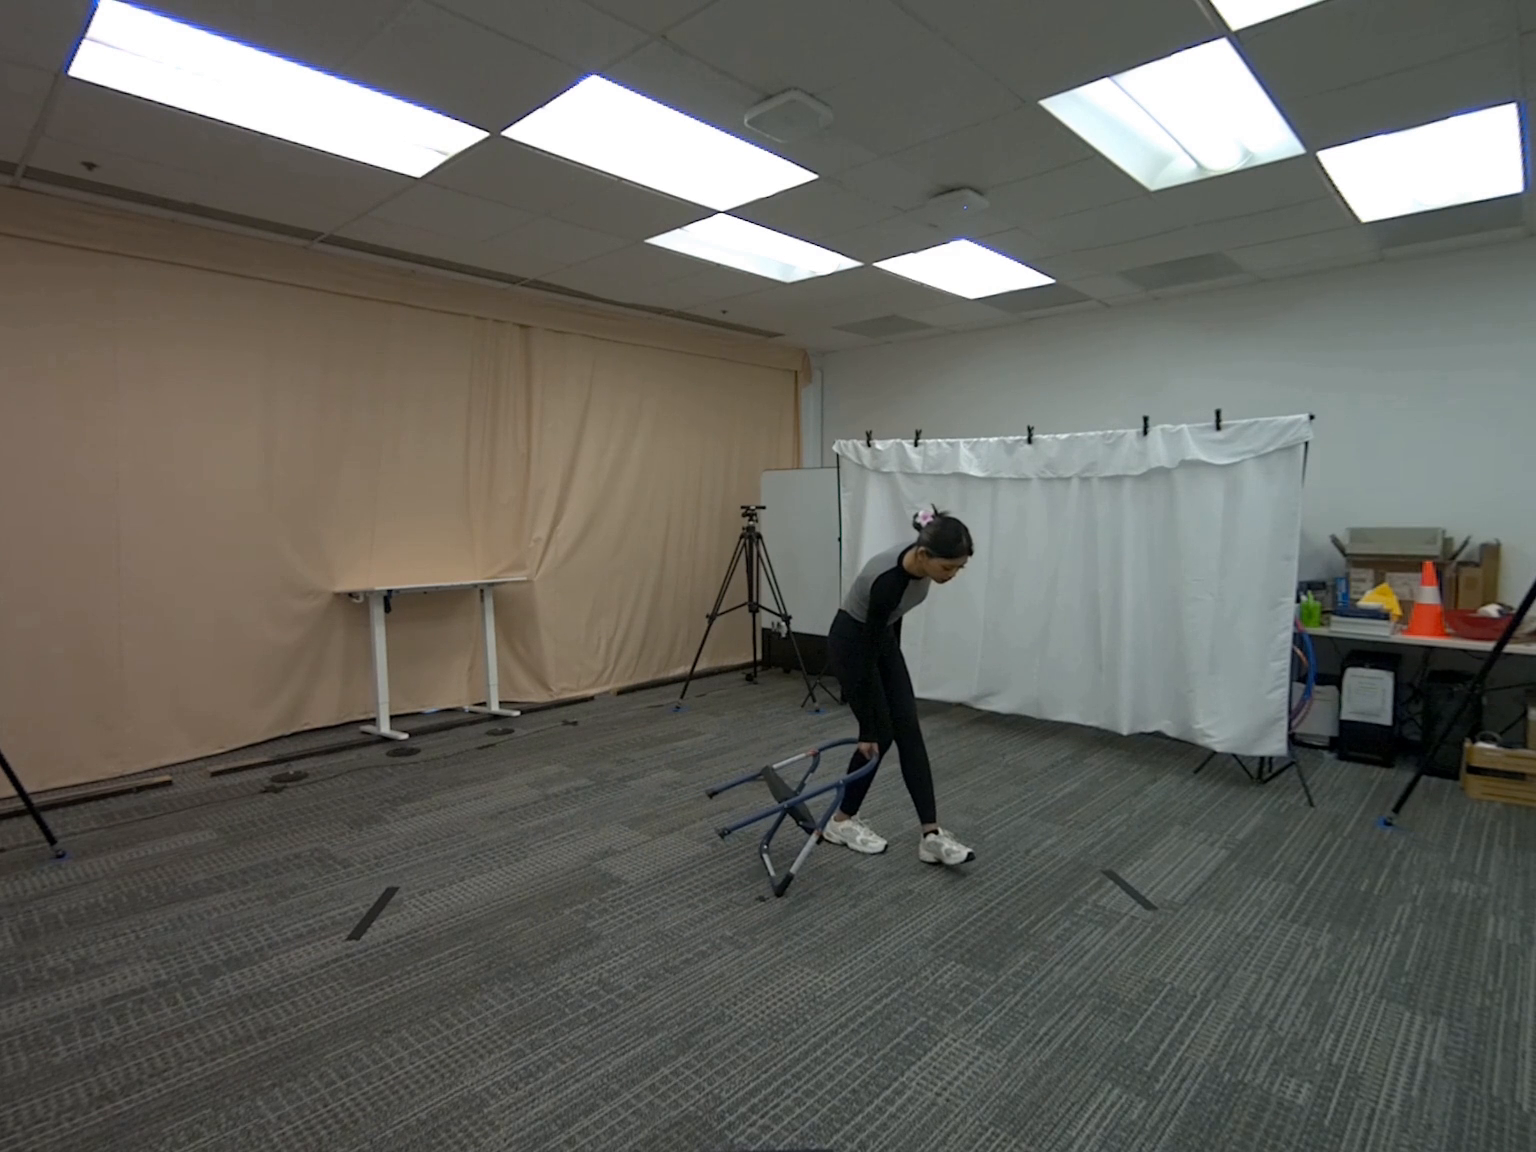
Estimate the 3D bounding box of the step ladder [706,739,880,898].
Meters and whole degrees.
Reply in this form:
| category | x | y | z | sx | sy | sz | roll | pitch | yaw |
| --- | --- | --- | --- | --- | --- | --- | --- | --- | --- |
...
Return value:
| category | x | y | z | sx | sy | sz | roll | pitch | yaw |
| --- | --- | --- | --- | --- | --- | --- | --- | --- | --- |
| step ladder | 0.121 | 0.803 | 3.183 | 0.605 | 0.346 | 0.435 | -42 | 9 | -3 |
